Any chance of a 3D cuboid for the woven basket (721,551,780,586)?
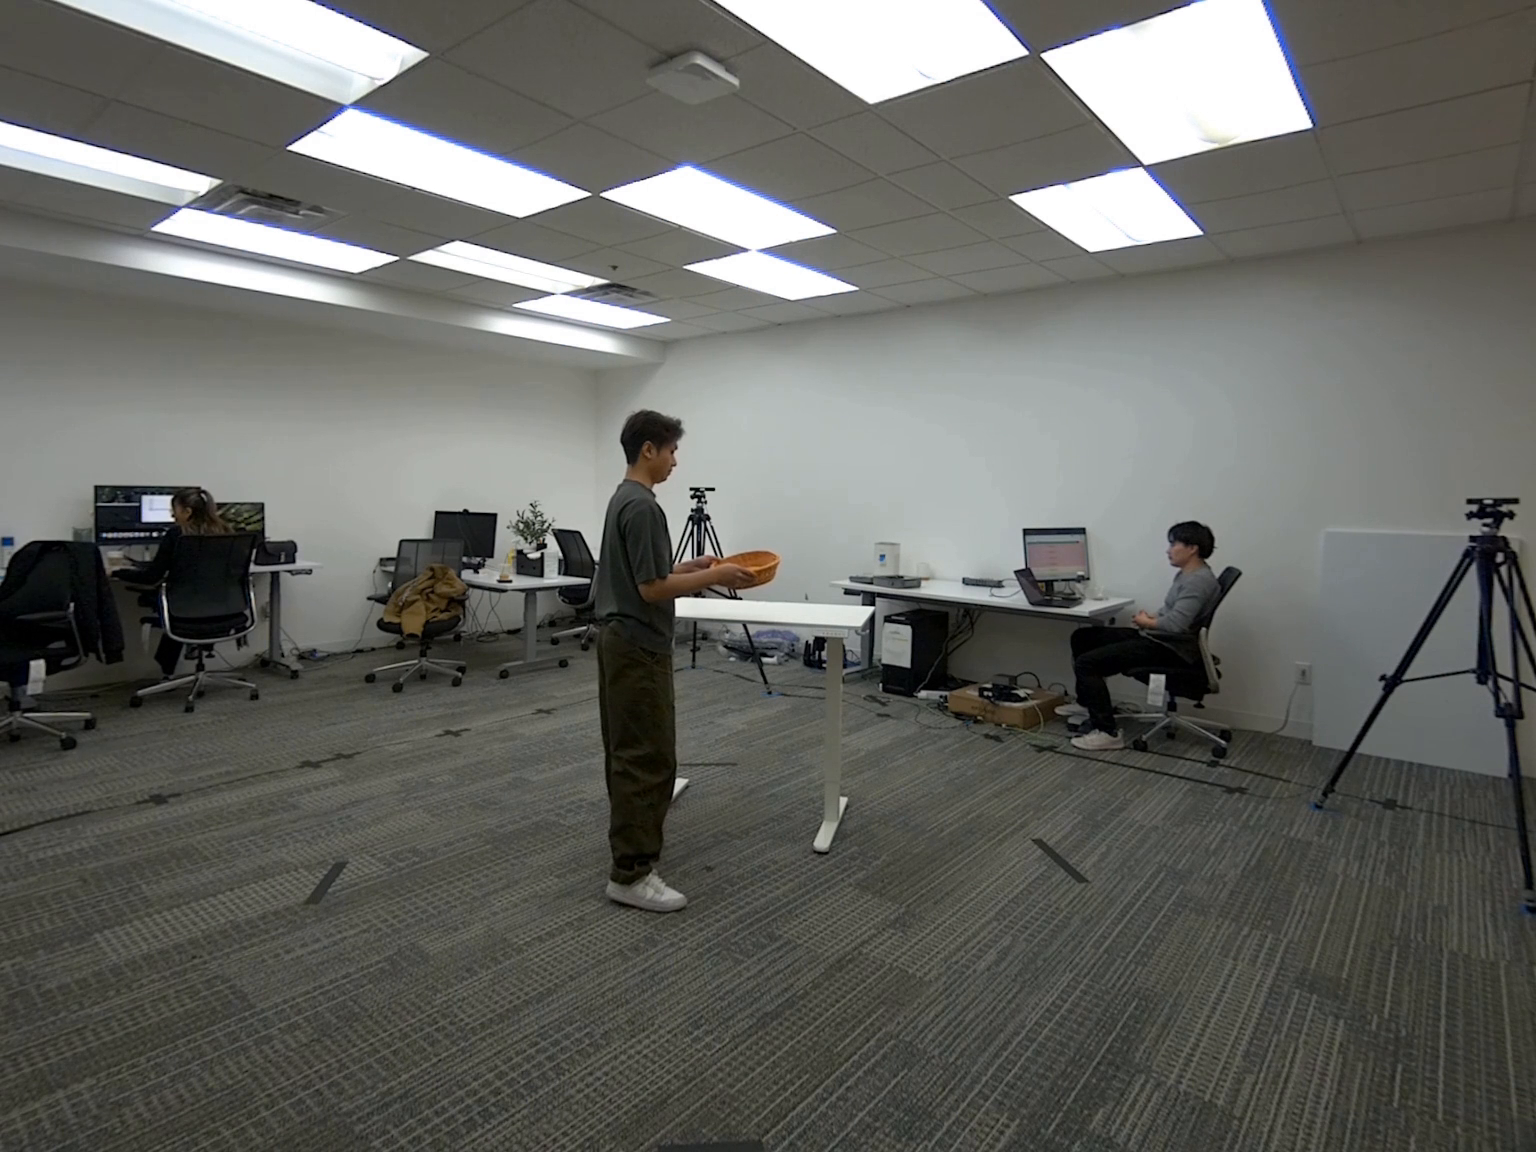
[{"bbox_3d":[-0.103,-0.017,3.148,0.249,0.072,0.359,-15,12,-17],"label":"woven basket"}]
